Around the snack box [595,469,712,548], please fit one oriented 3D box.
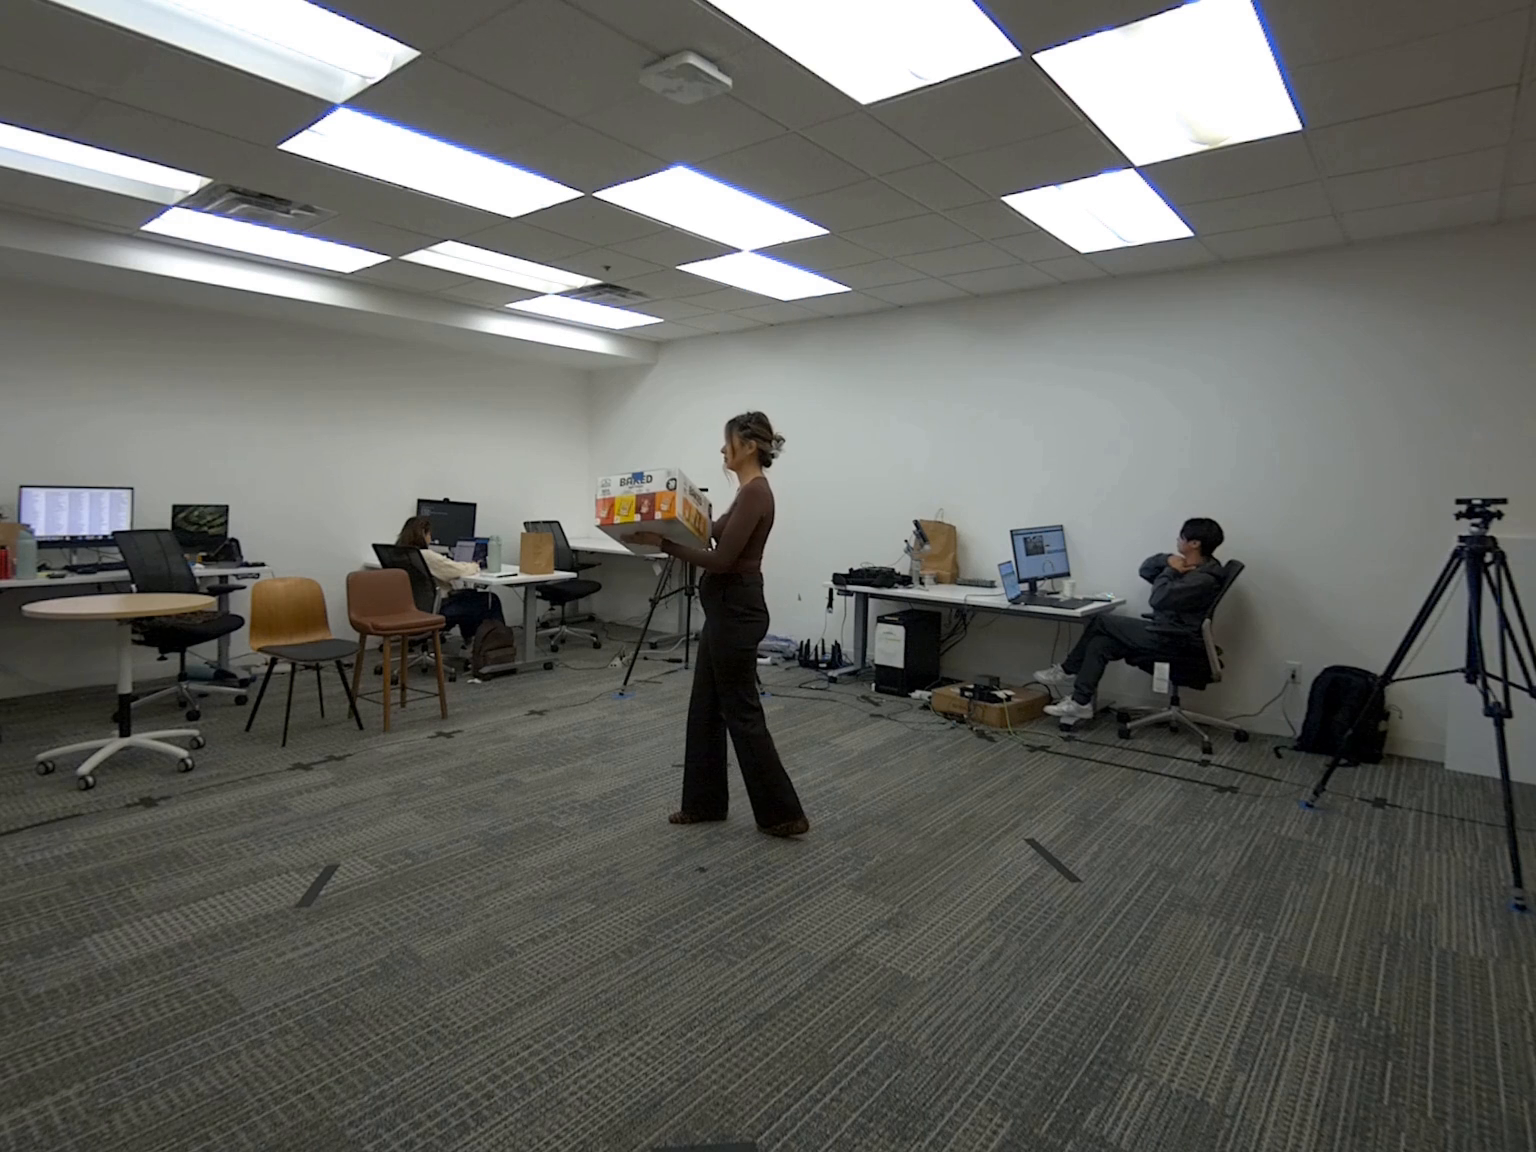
[{"bbox_3d":[-0.463,-0.253,3.397,0.346,0.209,0.392,-4,-17,16],"label":"snack box"}]
